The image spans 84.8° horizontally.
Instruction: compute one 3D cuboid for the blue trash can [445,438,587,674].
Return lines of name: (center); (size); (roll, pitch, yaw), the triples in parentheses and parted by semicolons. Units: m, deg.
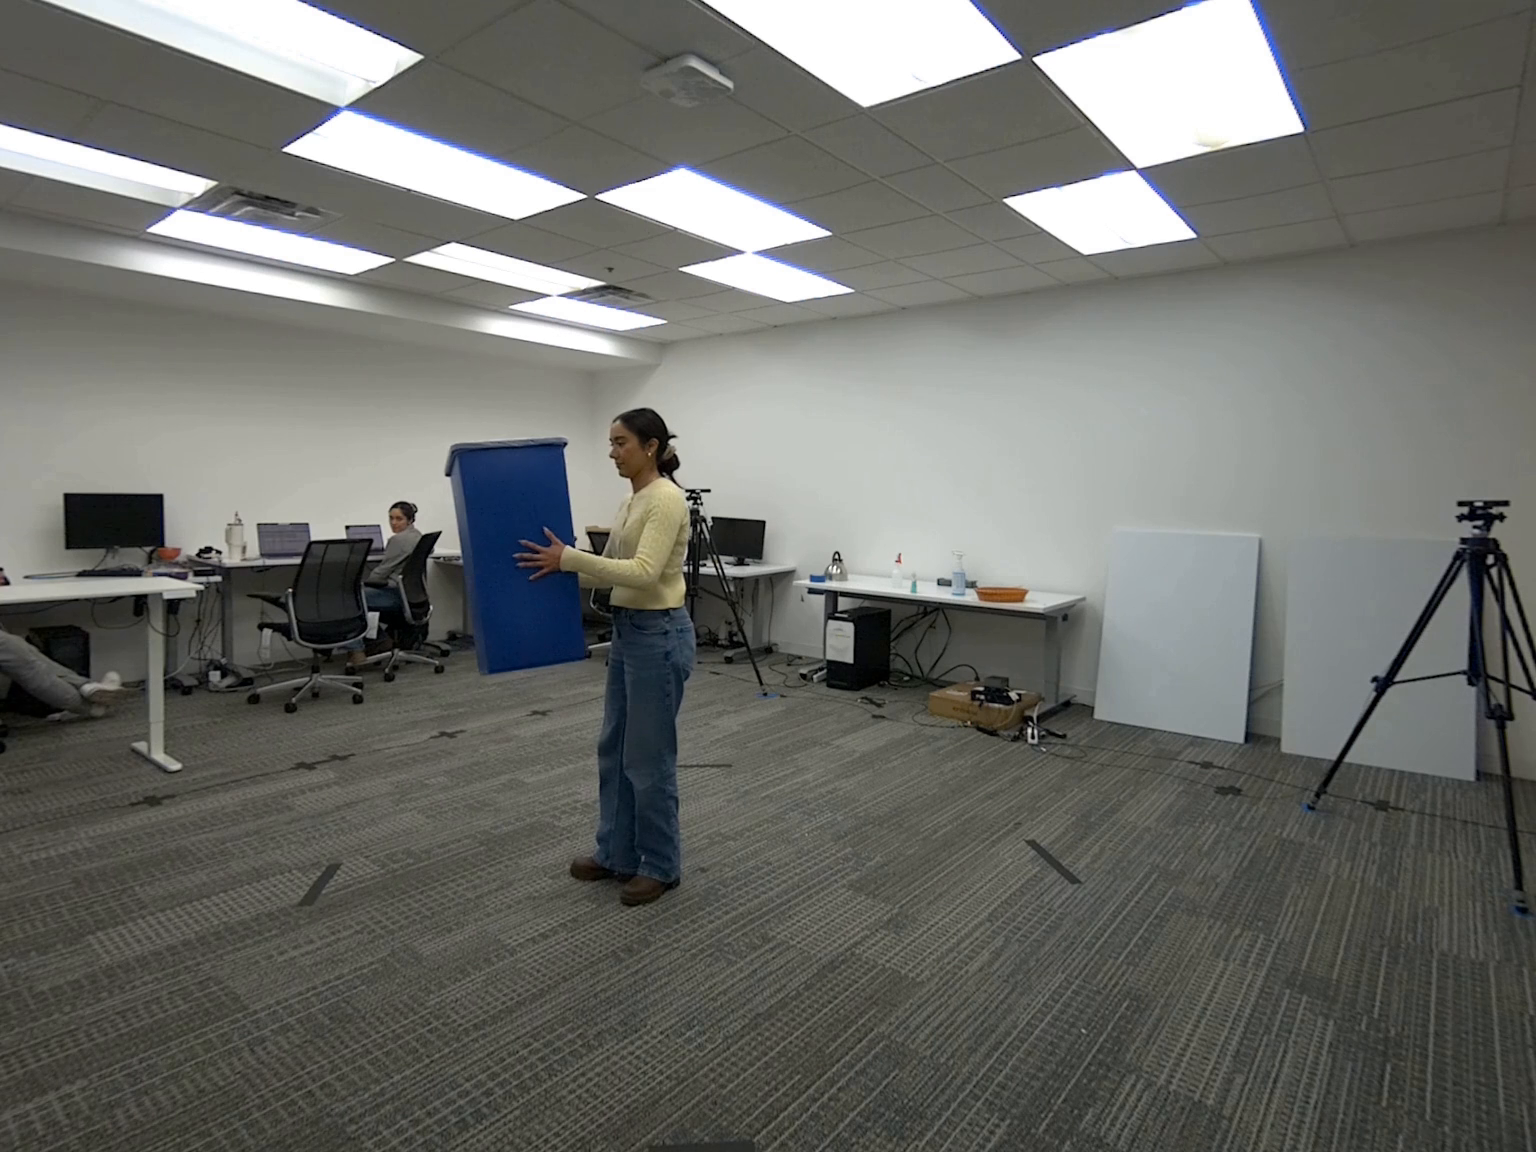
blue trash can: (-0.831, -0.060, 2.778); (0.366, 0.720, 0.382); (-6, -8, -23)
